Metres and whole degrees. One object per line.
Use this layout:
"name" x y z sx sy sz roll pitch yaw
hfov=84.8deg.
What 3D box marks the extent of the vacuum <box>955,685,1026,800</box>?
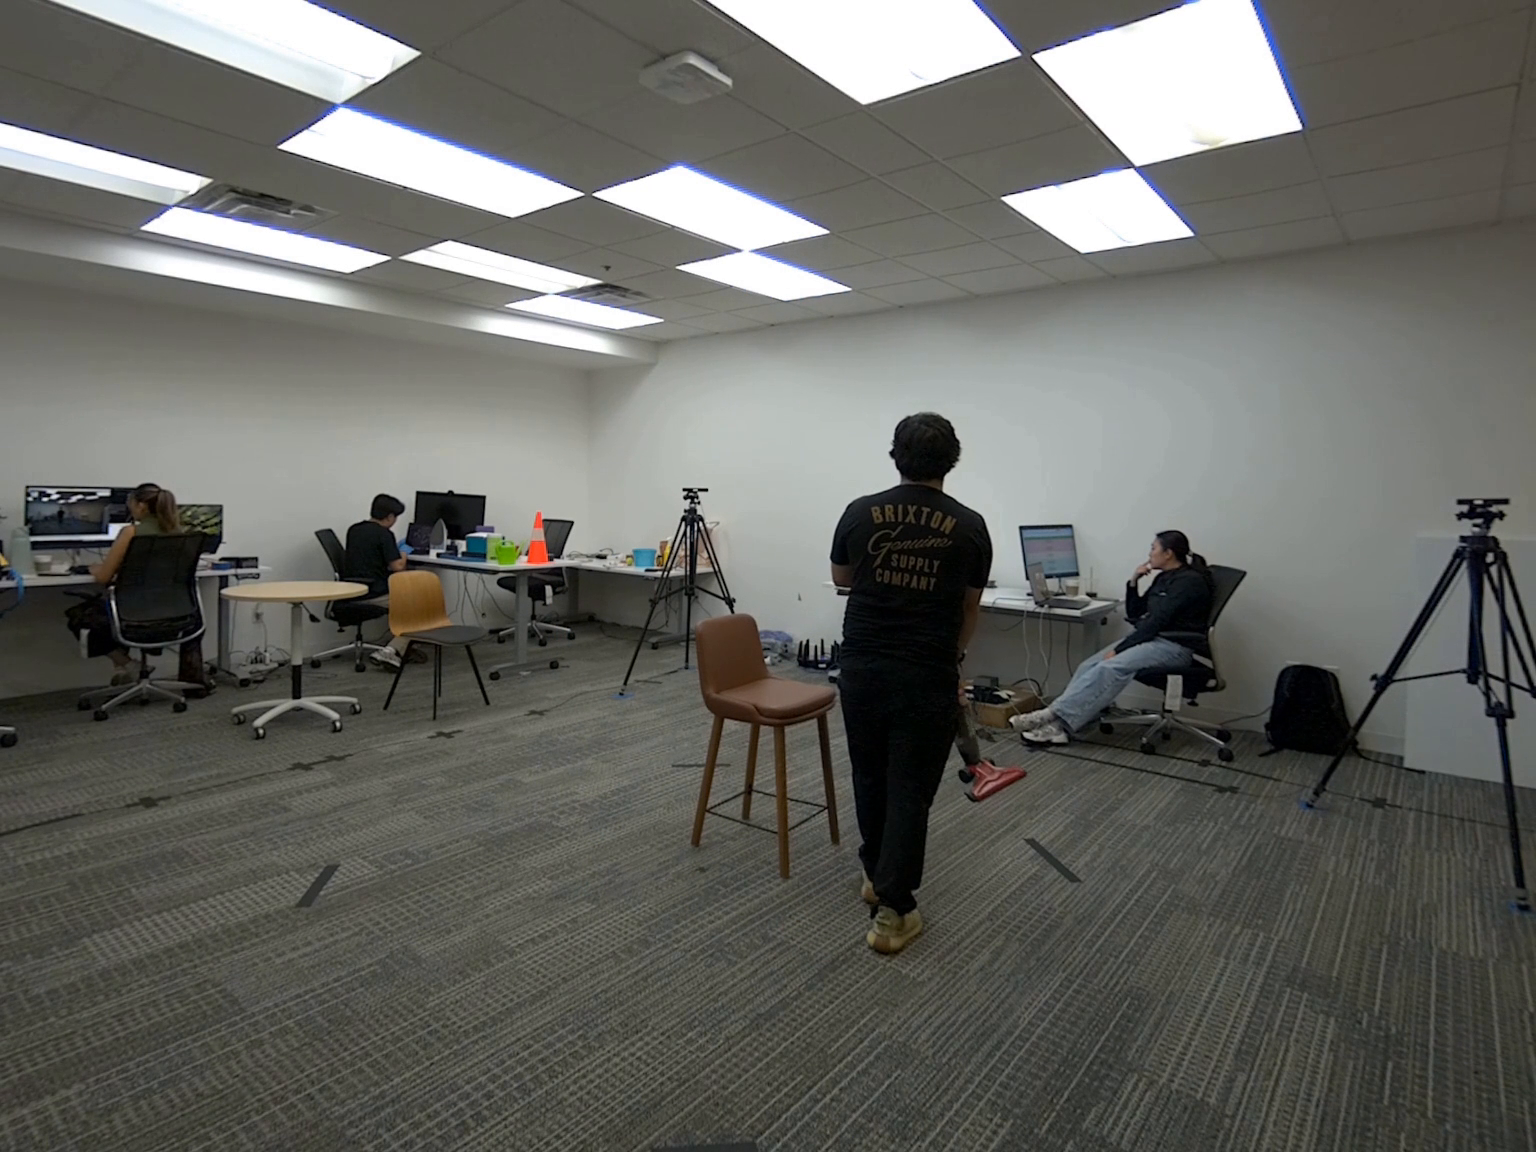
"vacuum" 0.580 0.227 3.089 0.248 1.064 0.144 -16 -12 -27
